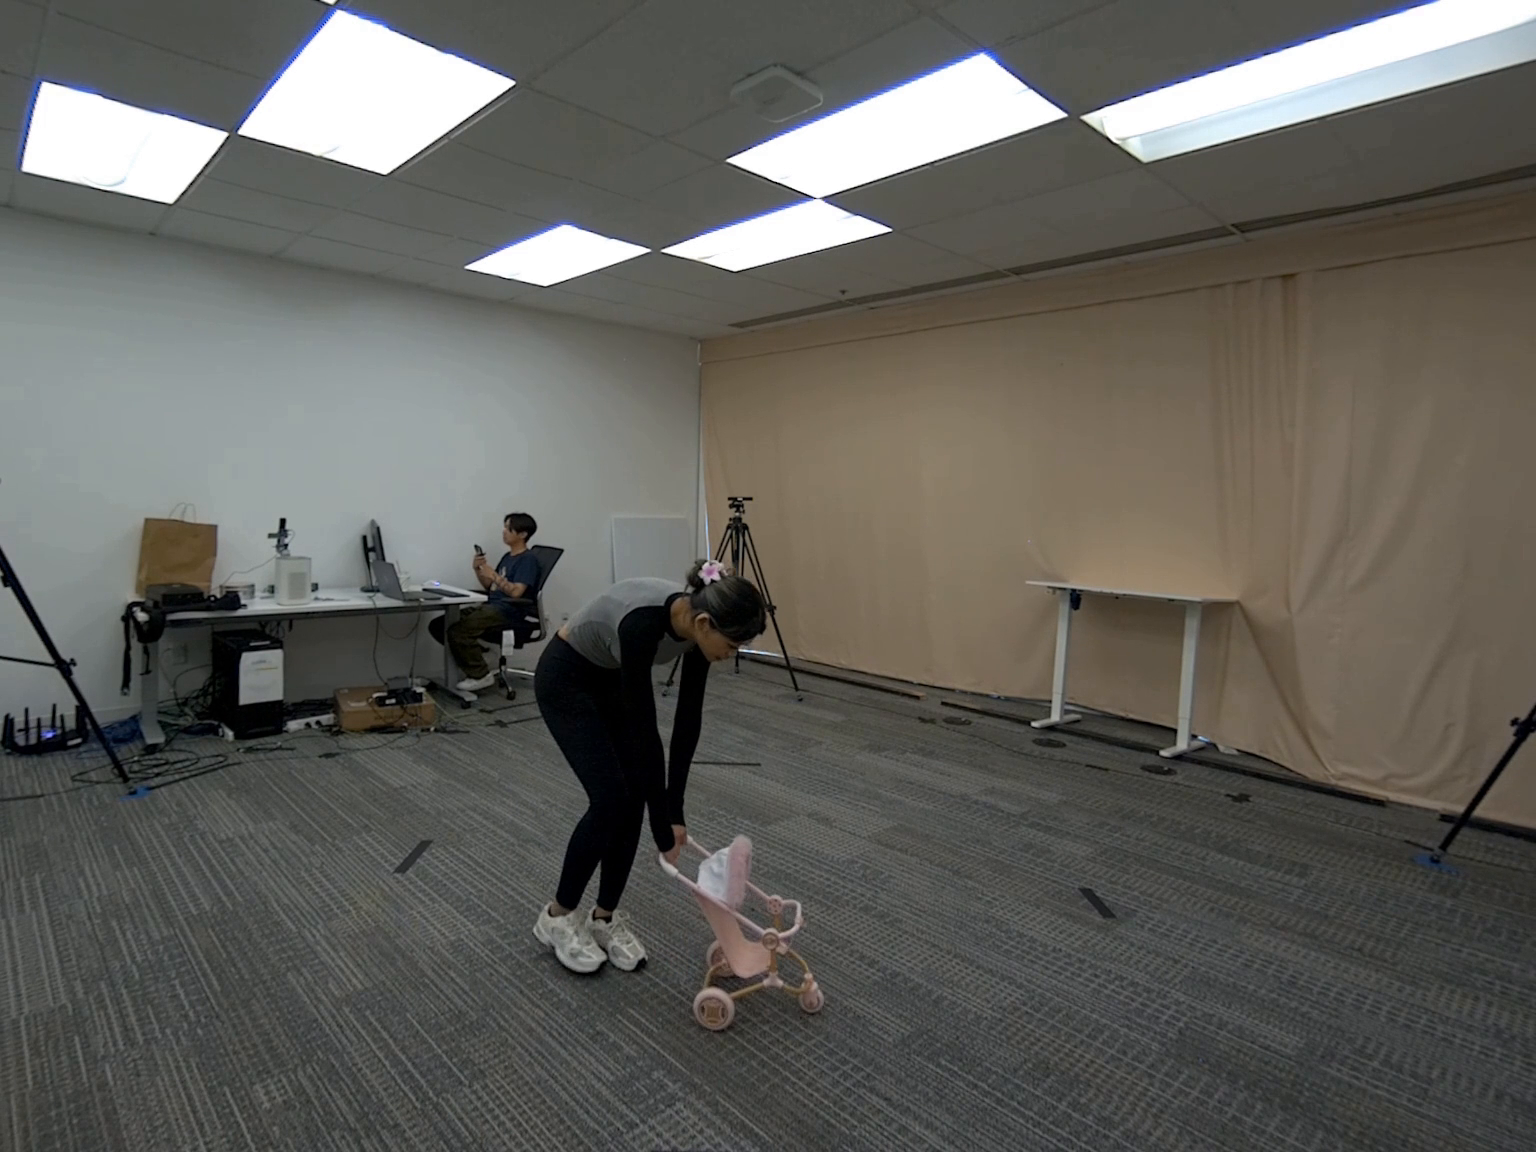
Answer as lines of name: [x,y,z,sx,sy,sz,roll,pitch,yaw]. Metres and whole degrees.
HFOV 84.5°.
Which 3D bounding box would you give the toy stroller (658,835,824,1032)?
toy stroller: [-0.070,0.958,2.304,0.344,0.535,0.279,-13,1,12]
